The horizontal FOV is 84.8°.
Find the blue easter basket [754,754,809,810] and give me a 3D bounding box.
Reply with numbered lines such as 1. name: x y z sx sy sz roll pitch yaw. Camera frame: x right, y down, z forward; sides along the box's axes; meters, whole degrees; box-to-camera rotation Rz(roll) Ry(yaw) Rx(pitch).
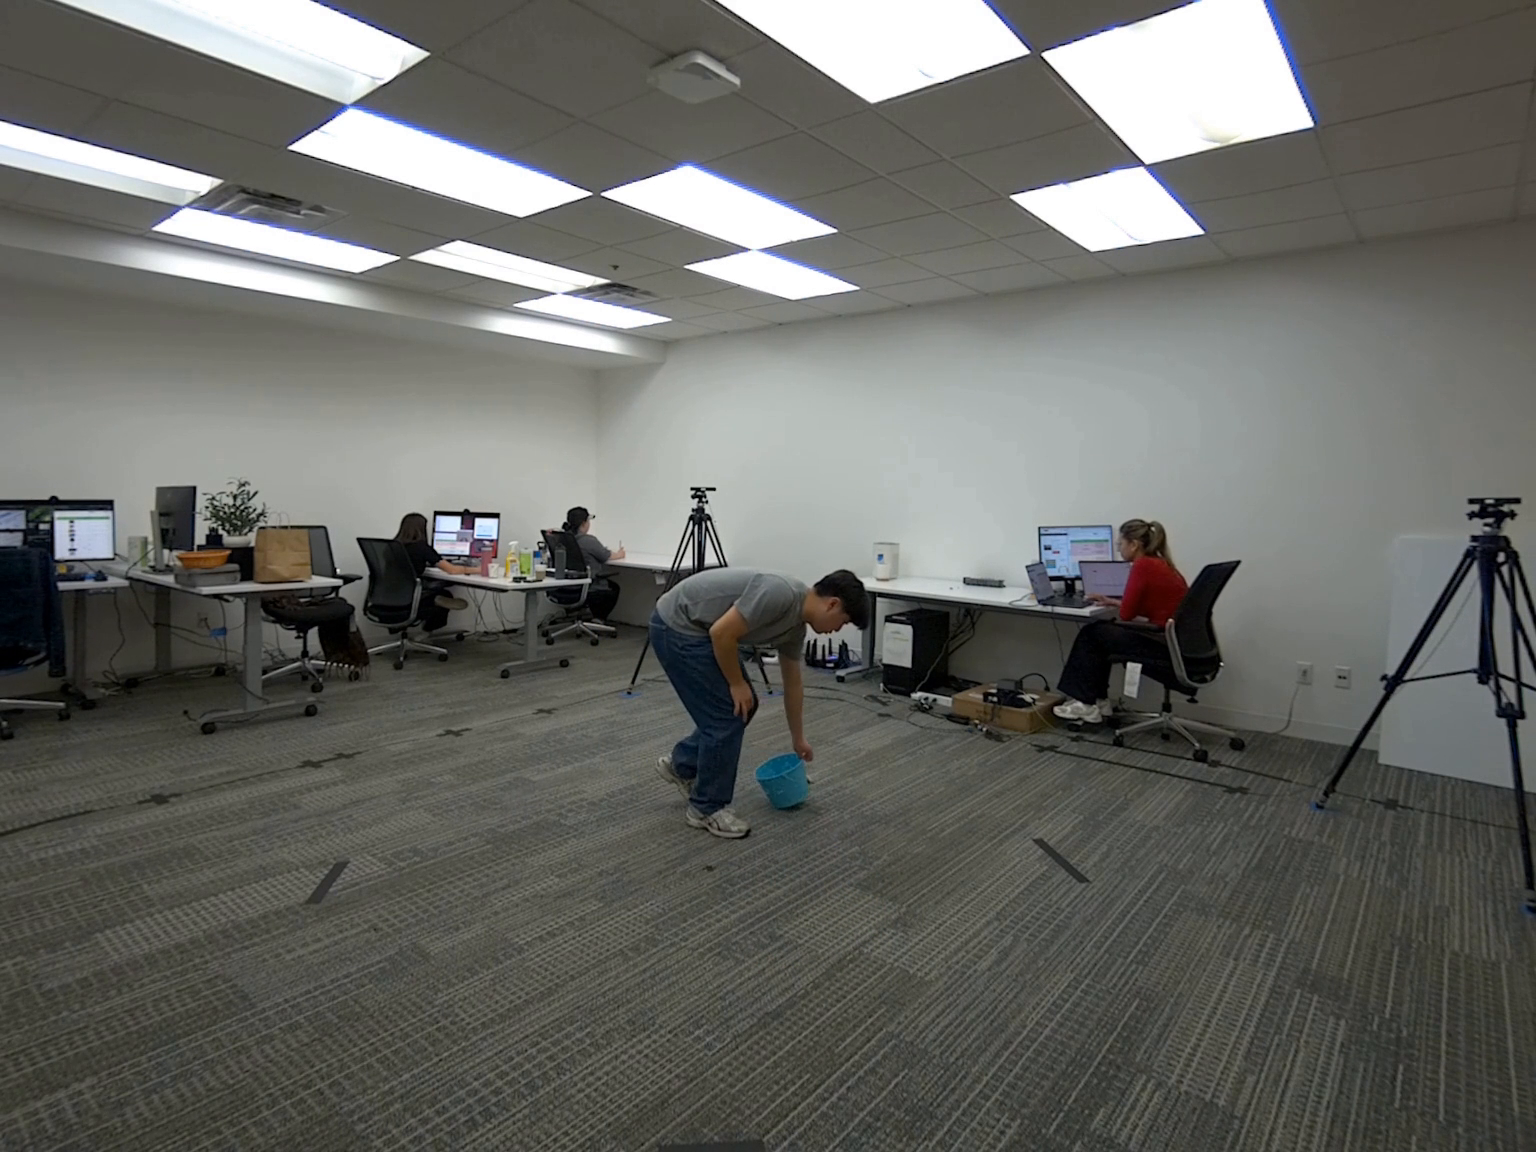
1. blue easter basket: 0.064 0.905 3.752 0.244 0.154 0.246 -20 9 1
